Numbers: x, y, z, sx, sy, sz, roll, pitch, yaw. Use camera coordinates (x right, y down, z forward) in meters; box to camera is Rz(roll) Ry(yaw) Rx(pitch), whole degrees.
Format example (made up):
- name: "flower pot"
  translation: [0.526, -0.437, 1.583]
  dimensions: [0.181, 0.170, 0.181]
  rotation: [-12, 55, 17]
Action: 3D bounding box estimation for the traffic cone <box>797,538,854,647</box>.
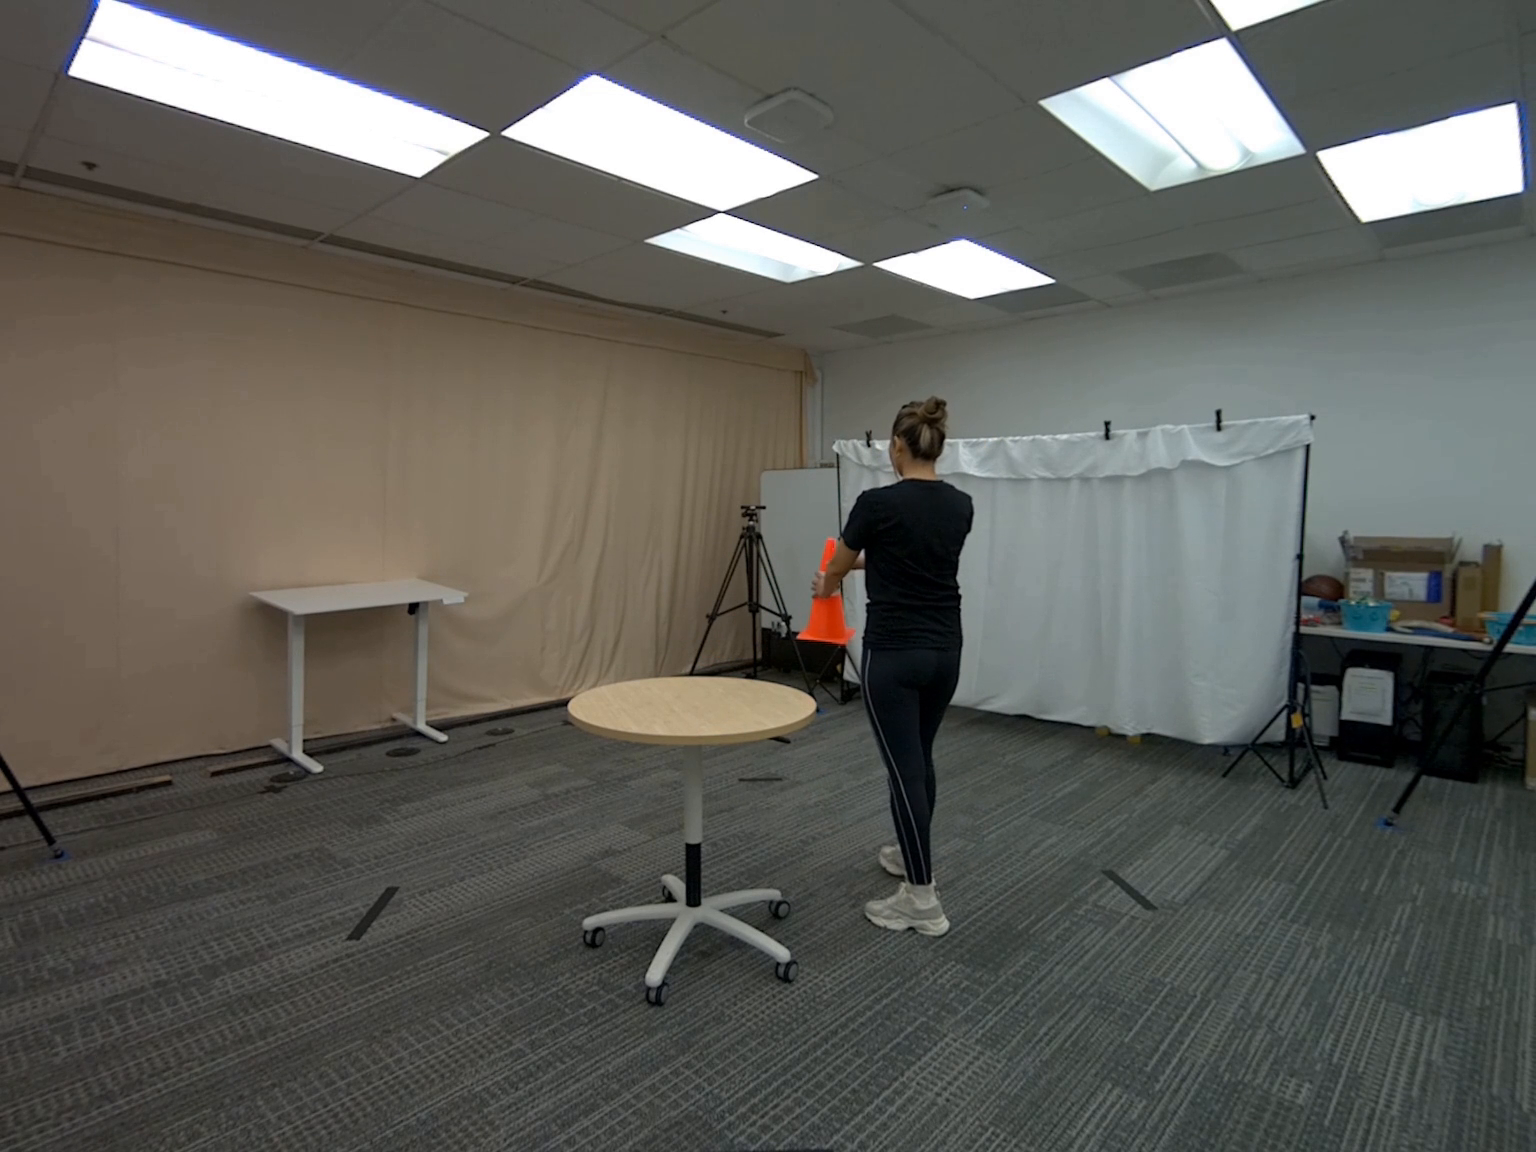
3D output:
- name: "traffic cone"
  translation: [0.236, 0.046, 3.285]
  dimensions: [0.210, 0.381, 0.200]
  rotation: [4, 9, 21]
